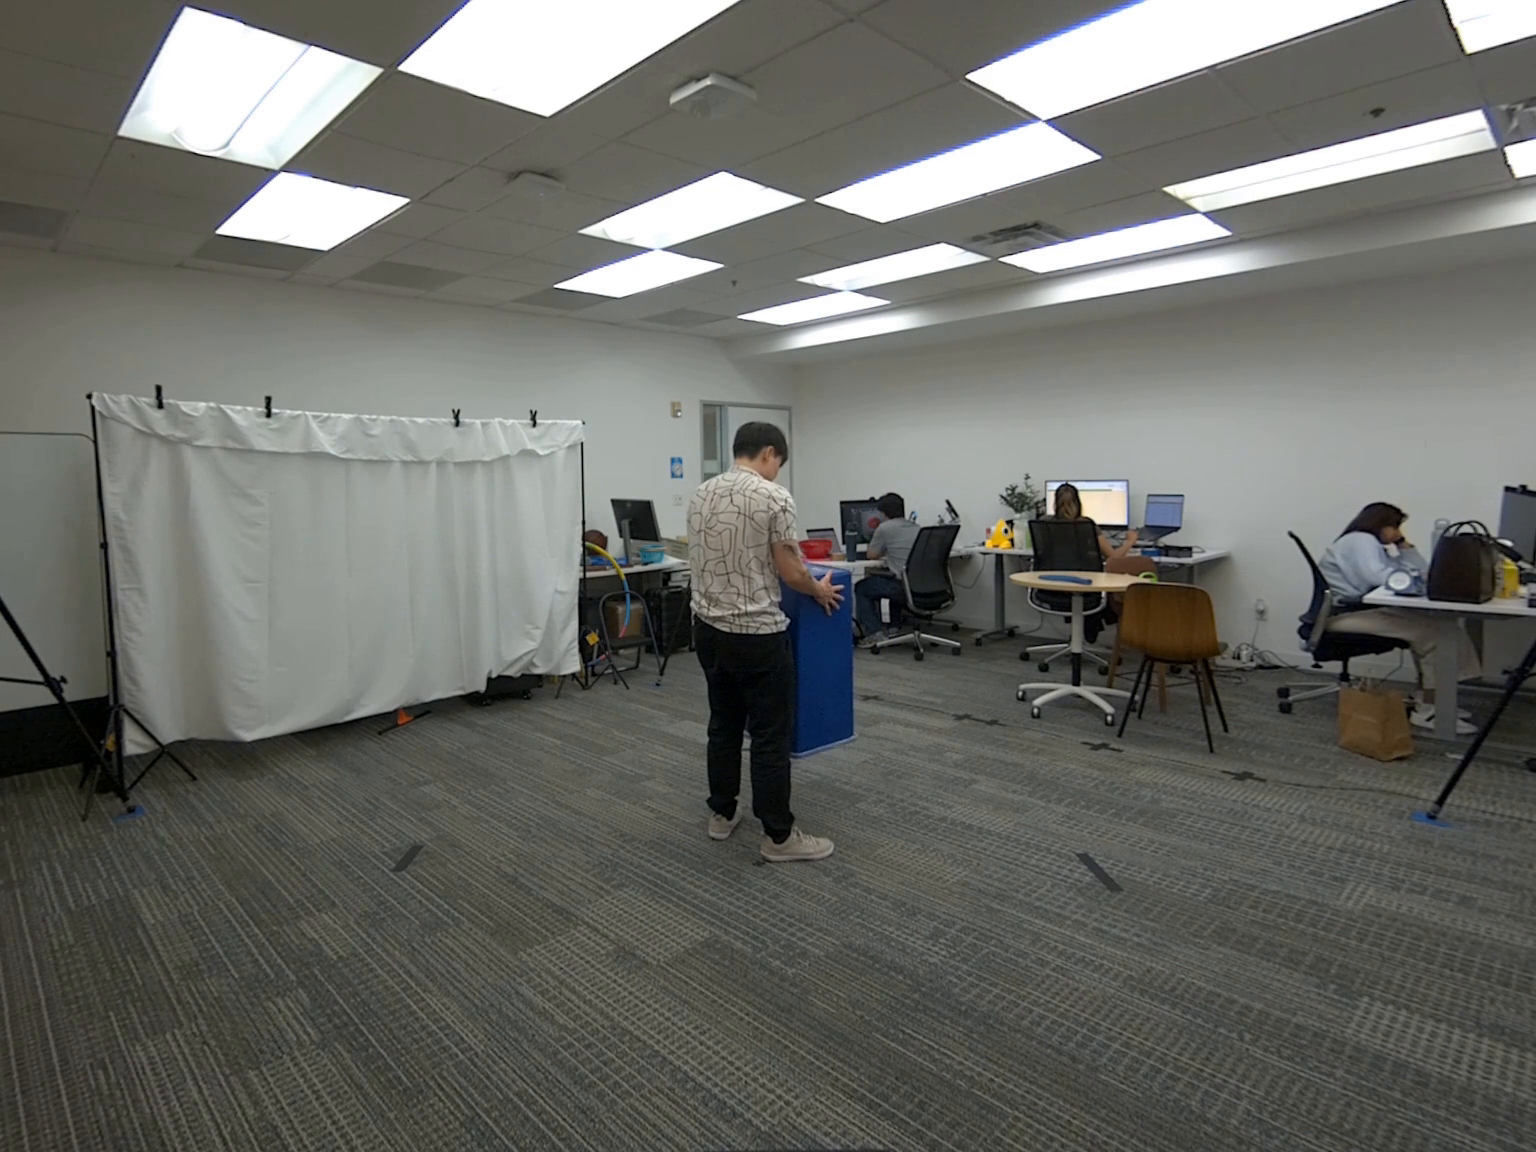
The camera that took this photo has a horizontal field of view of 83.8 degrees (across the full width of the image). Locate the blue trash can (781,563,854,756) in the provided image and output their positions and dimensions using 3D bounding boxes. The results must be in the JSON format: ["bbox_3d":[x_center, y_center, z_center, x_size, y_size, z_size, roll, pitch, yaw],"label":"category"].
[{"bbox_3d":[0.132,0.326,3.542,0.368,0.710,0.386,-4,8,-40],"label":"blue trash can"}]
